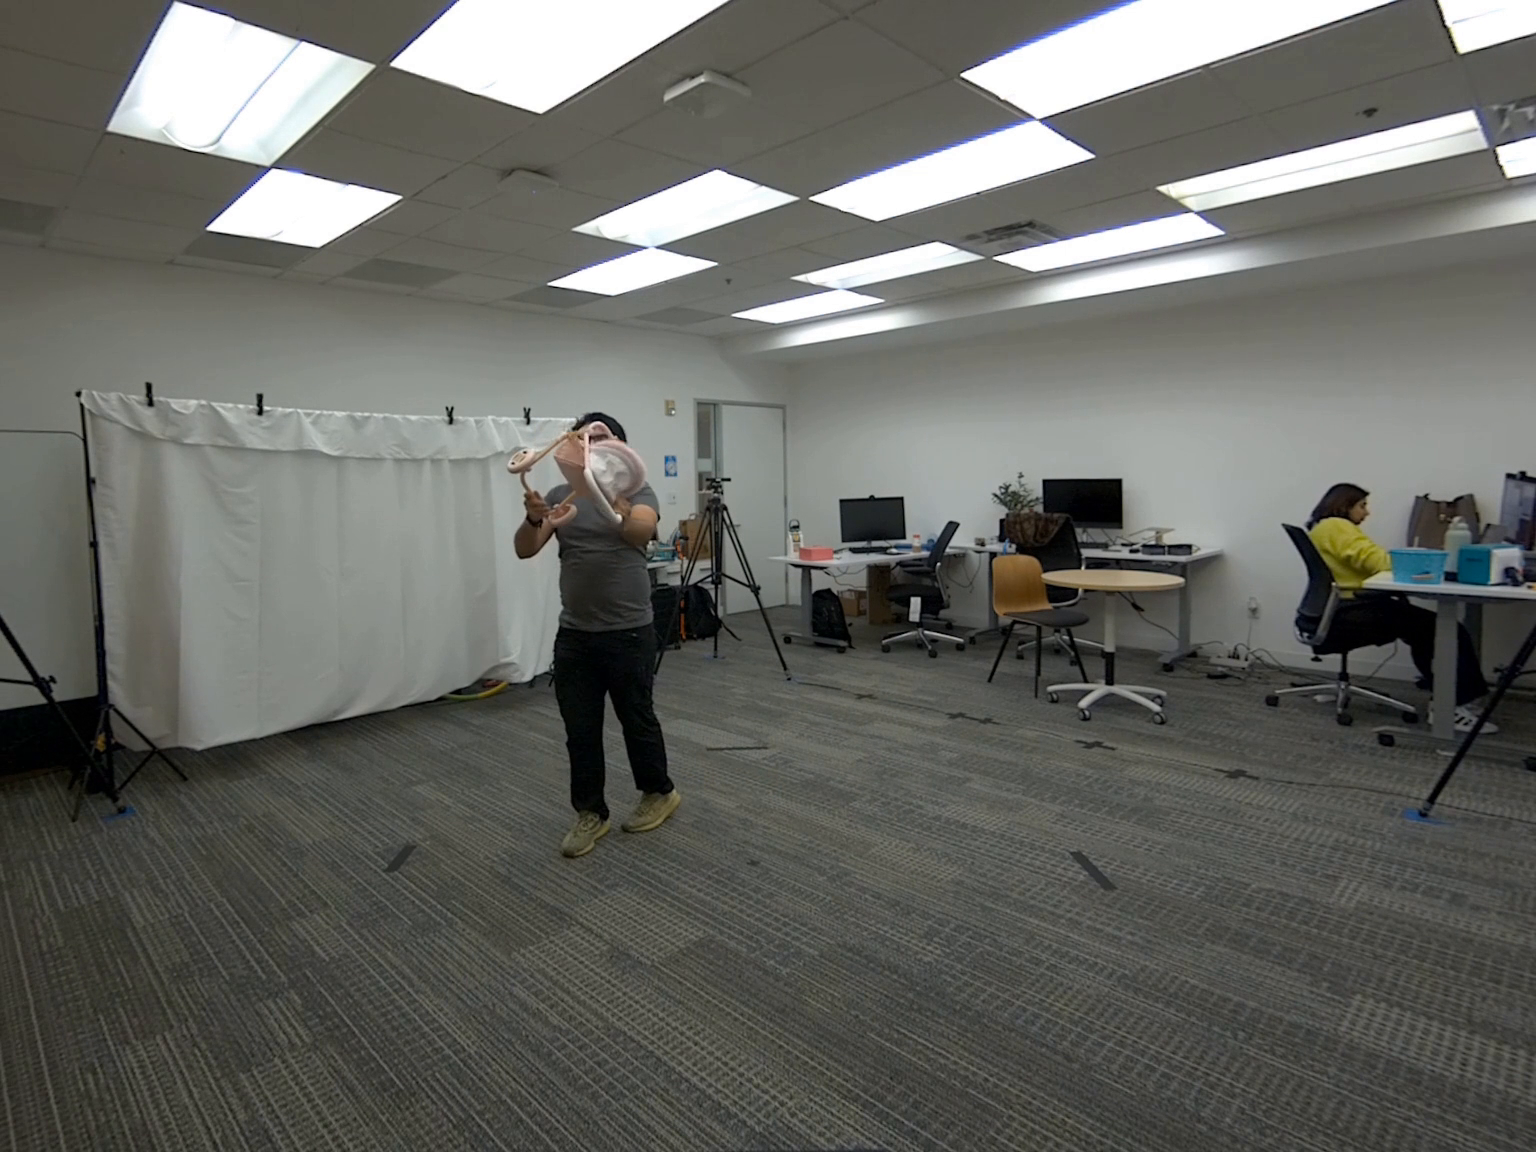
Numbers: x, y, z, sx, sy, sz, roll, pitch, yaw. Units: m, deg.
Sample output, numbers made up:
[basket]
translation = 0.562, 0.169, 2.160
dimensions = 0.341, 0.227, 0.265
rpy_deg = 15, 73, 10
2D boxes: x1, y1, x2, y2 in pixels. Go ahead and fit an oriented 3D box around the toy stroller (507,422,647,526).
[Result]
[toy stroller]
translation = -0.597, -0.355, 2.858
dimensions = 0.552, 0.272, 0.342
rpy_deg = 8, 47, 43
